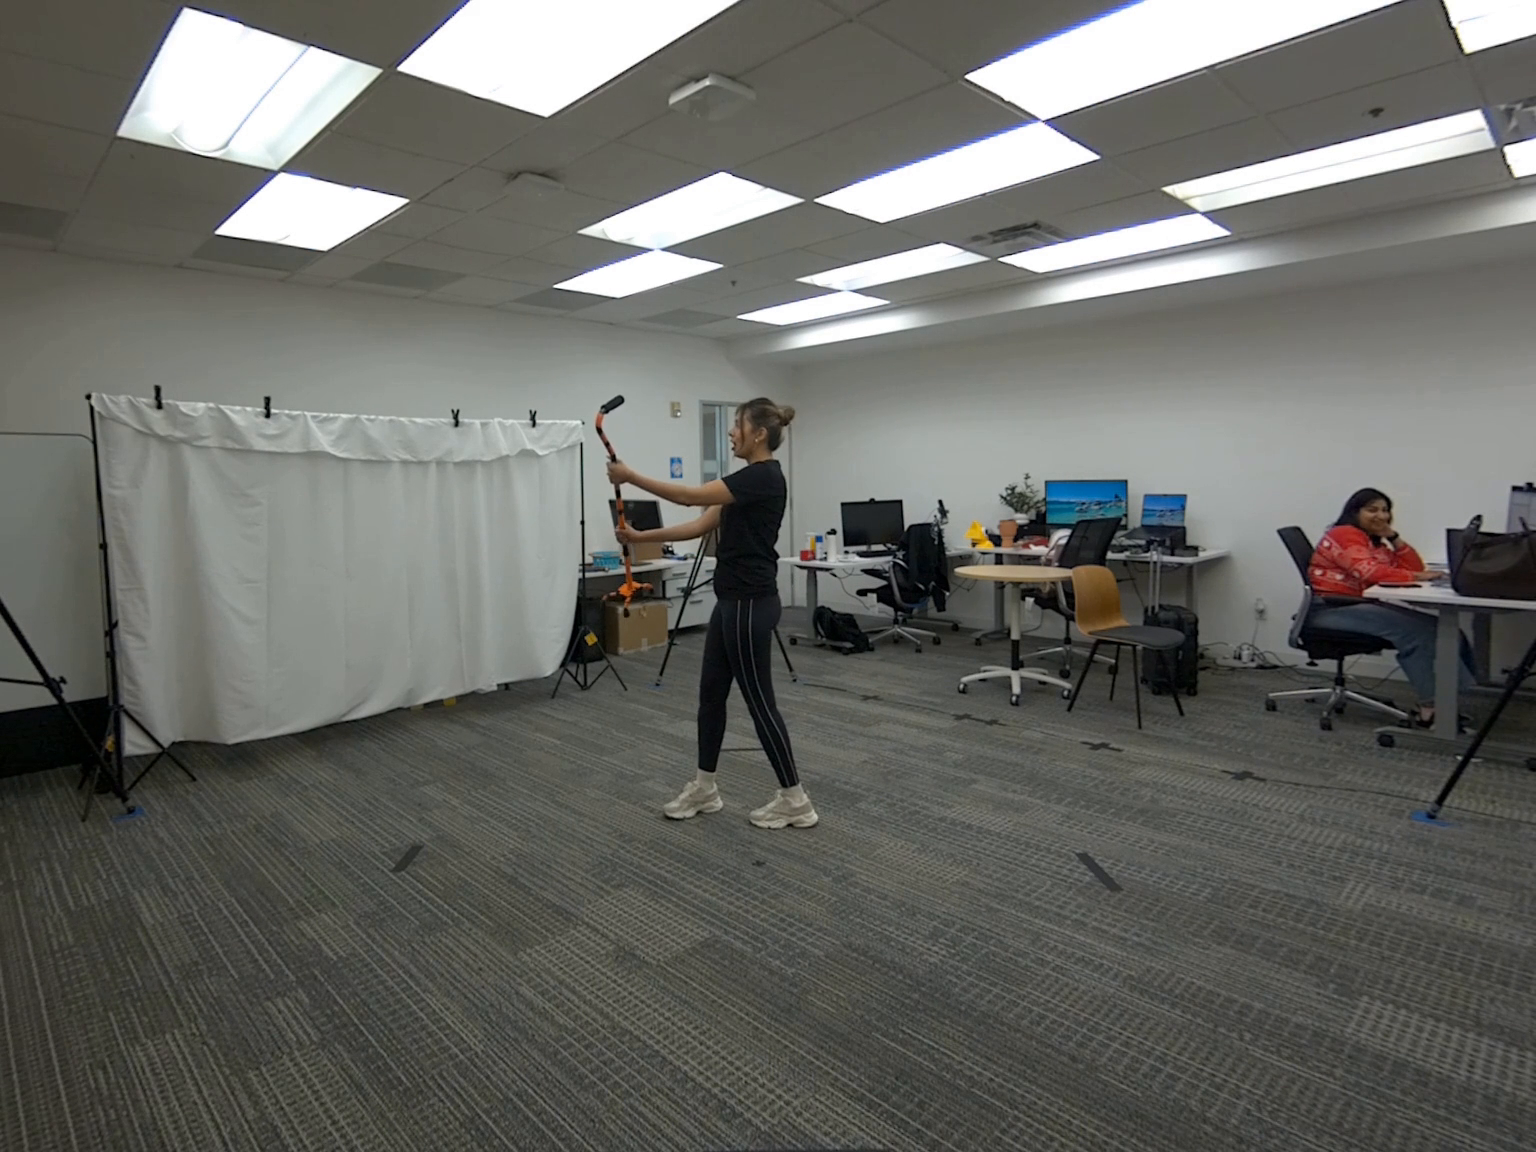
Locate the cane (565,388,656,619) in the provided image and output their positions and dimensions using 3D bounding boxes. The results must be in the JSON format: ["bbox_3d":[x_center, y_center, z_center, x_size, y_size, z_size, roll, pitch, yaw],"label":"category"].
[{"bbox_3d":[-0.613,-0.272,3.396,0.156,0.885,0.206,17,37,27],"label":"cane"}]
